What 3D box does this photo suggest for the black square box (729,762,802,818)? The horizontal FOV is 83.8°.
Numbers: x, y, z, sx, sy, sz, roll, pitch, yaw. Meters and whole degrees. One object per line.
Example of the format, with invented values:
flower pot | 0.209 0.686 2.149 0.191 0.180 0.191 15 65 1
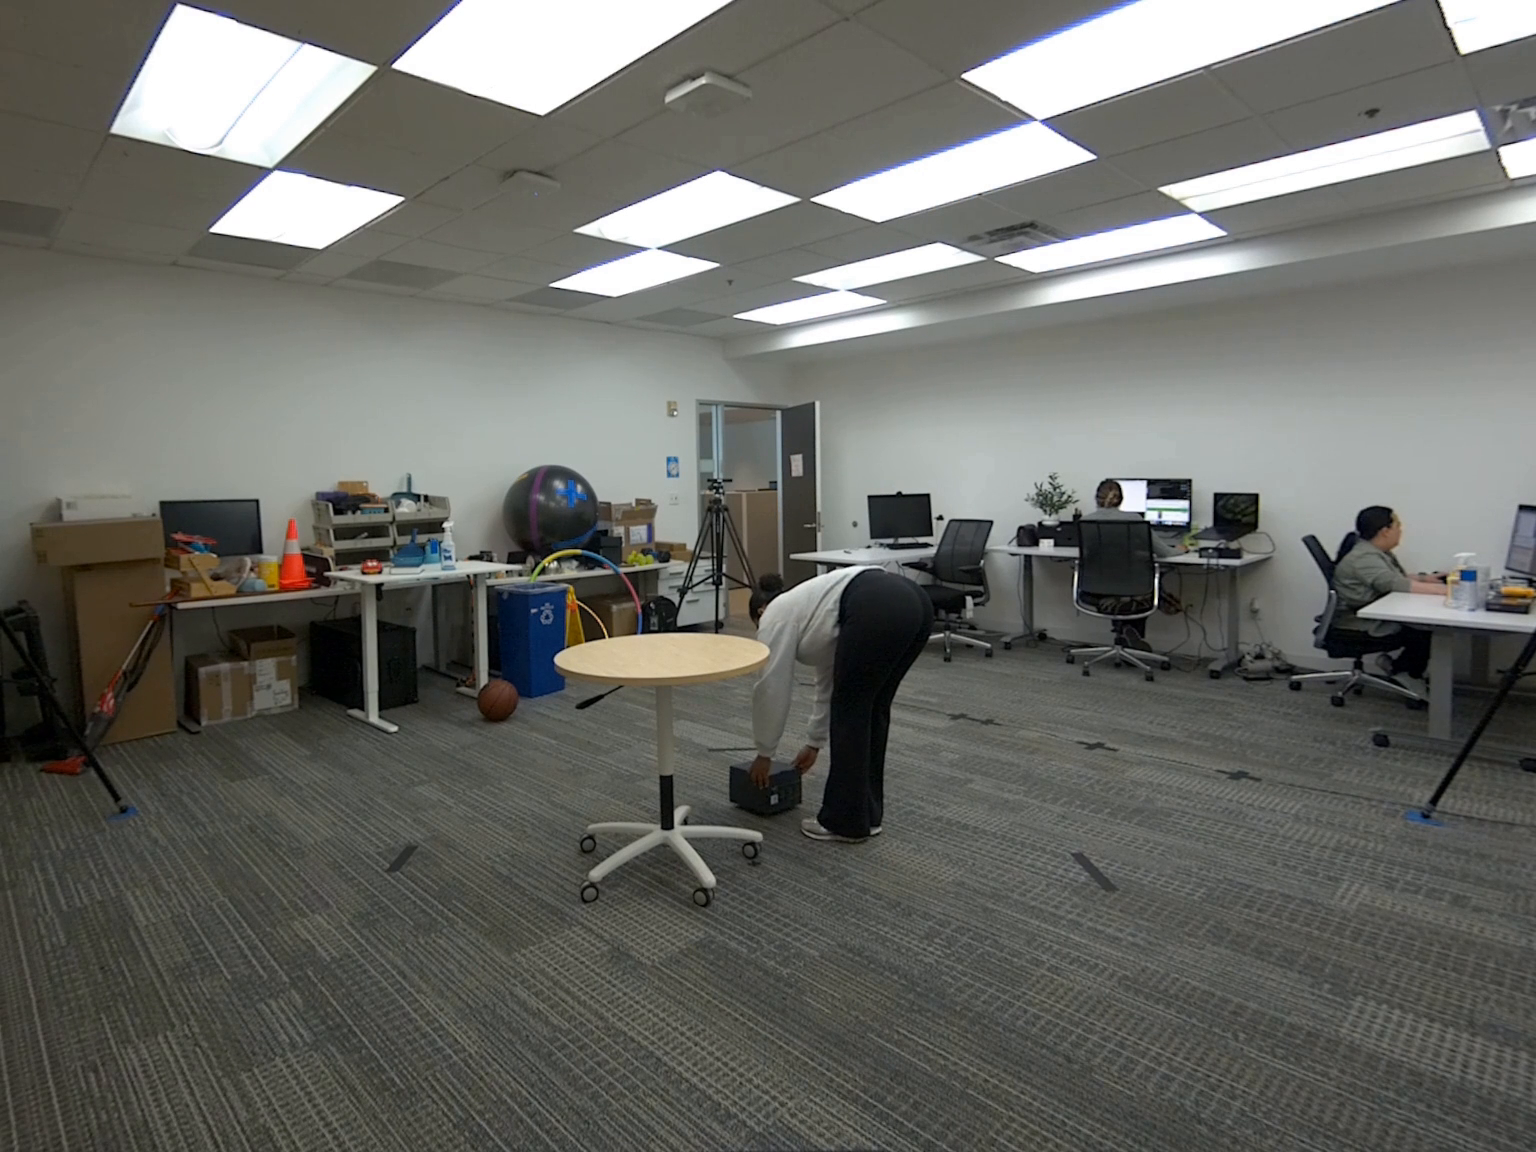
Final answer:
black square box | -0.010 0.884 3.650 0.211 0.156 0.234 -1 1 -44
